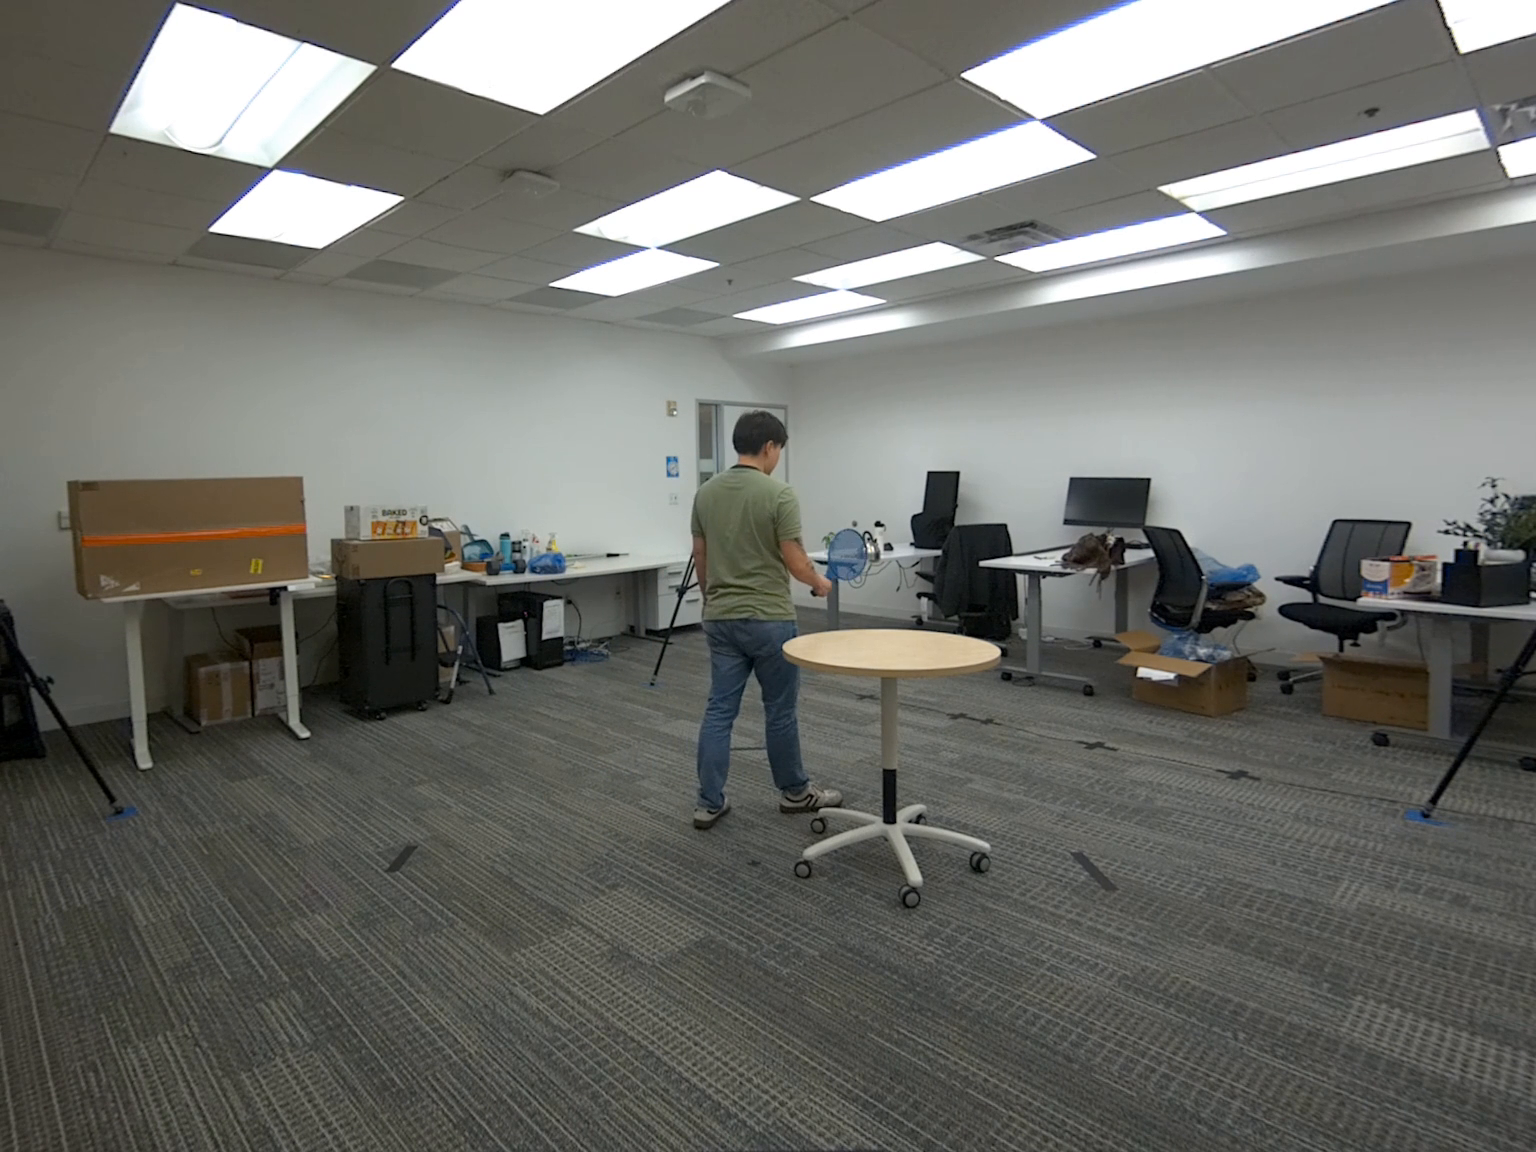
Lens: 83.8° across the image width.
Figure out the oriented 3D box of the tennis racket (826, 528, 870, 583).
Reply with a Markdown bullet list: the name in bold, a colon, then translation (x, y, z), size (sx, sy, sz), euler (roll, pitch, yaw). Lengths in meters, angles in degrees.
- **tennis racket**: translation (0.309, -0.048, 3.732), size (0.032, 0.210, 0.432), euler (-18, 22, 49)
